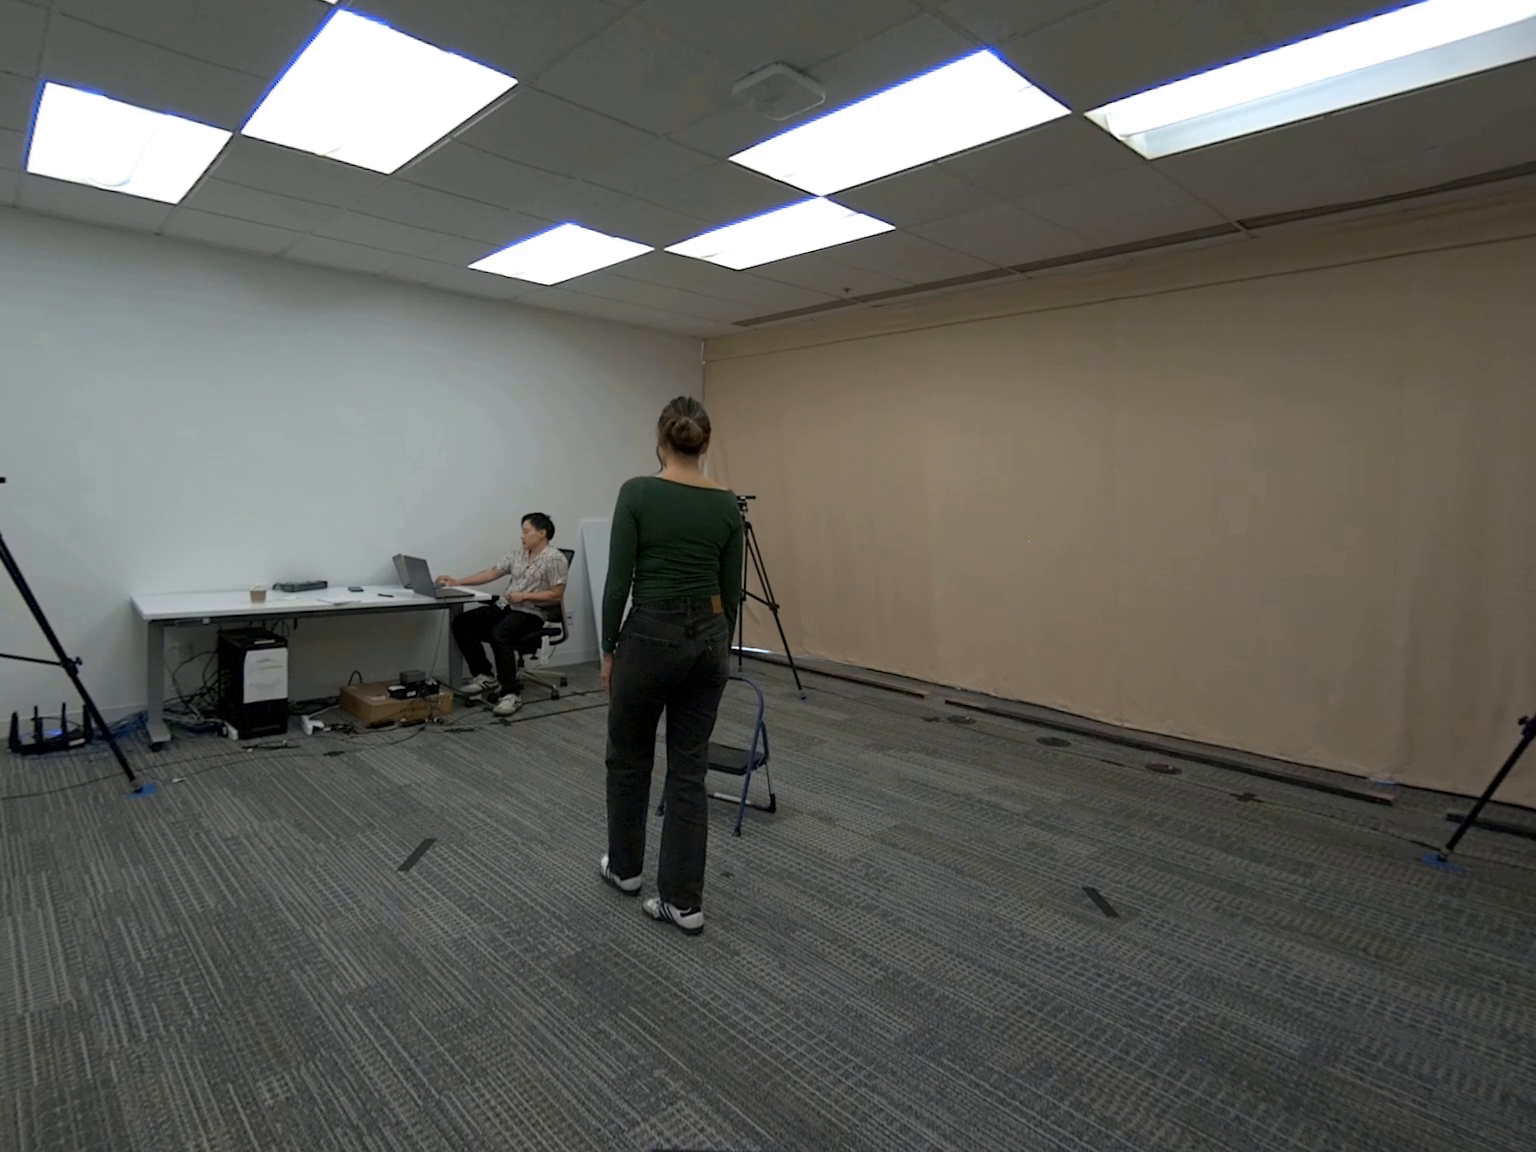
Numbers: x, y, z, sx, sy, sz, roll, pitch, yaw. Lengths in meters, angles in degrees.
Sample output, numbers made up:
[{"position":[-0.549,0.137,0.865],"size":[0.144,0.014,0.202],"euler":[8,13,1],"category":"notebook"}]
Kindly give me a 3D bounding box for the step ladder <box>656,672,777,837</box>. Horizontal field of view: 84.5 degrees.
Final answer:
[{"position":[-0.222,0.745,3.693],"size":[0.440,0.604,0.342],"euler":[4,5,30],"category":"step ladder"}]
